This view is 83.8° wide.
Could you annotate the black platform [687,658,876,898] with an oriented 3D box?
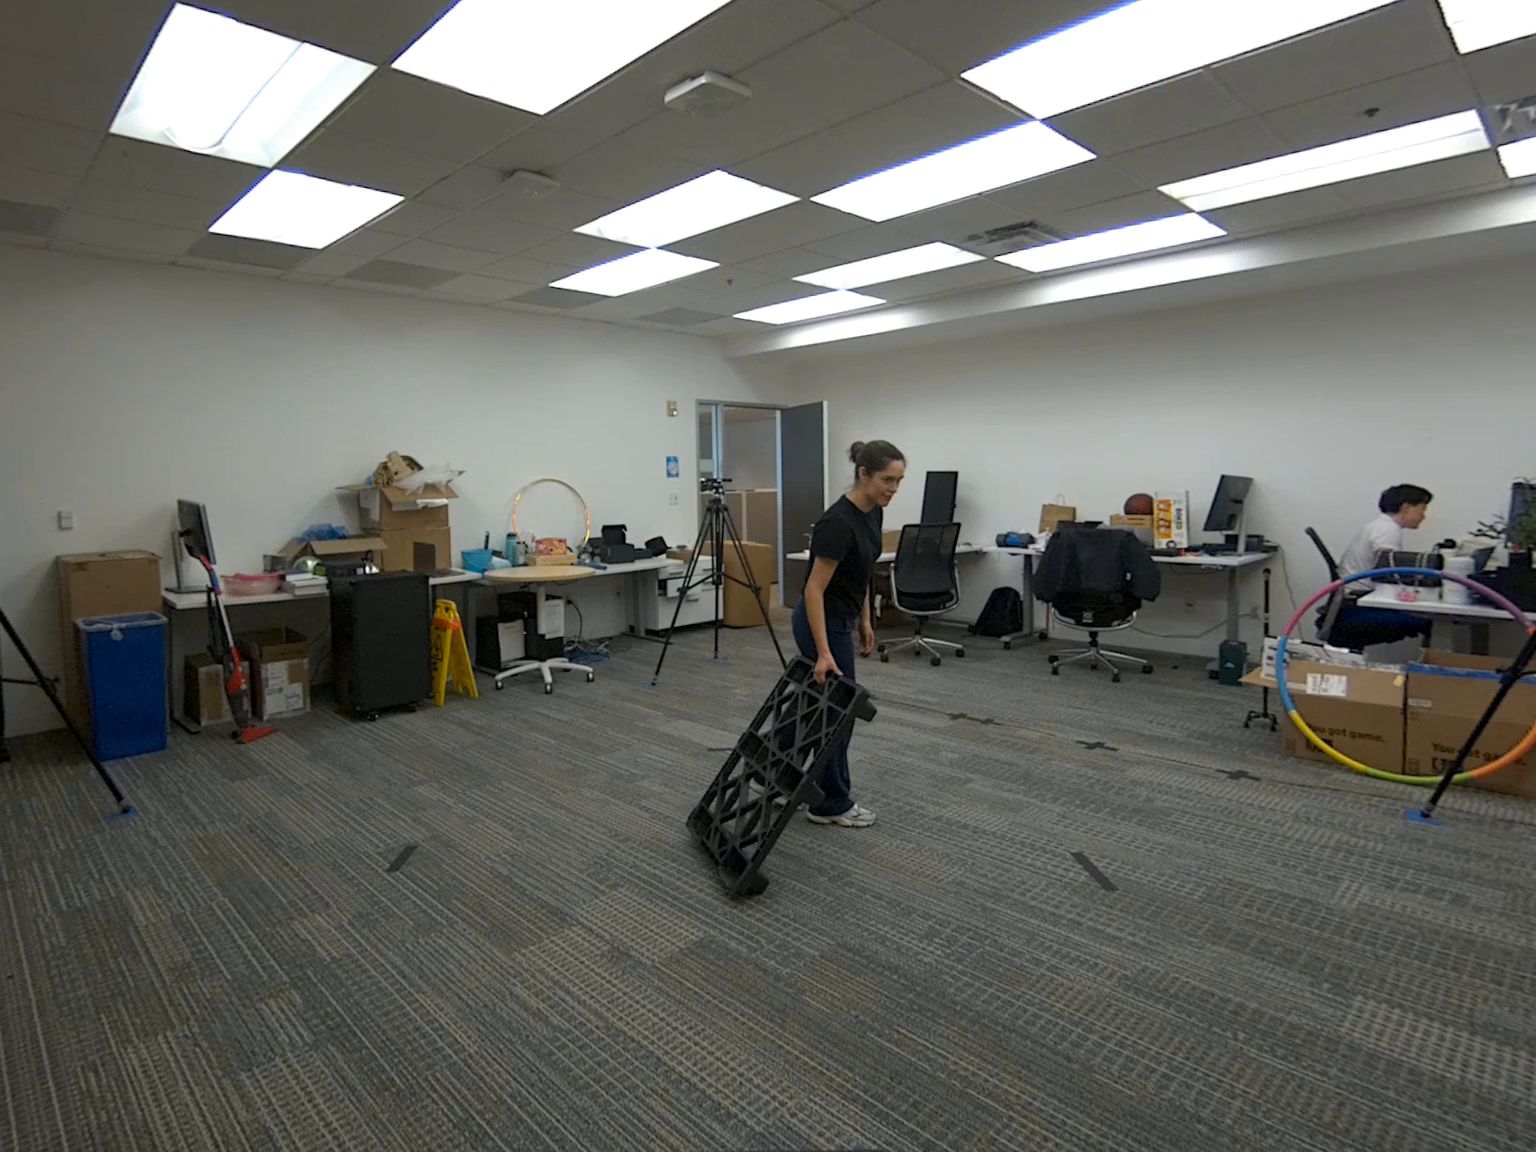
[{"bbox_3d":[0.049,0.706,3.129,0.140,0.807,0.619,36,-7,-20],"label":"black platform"}]
